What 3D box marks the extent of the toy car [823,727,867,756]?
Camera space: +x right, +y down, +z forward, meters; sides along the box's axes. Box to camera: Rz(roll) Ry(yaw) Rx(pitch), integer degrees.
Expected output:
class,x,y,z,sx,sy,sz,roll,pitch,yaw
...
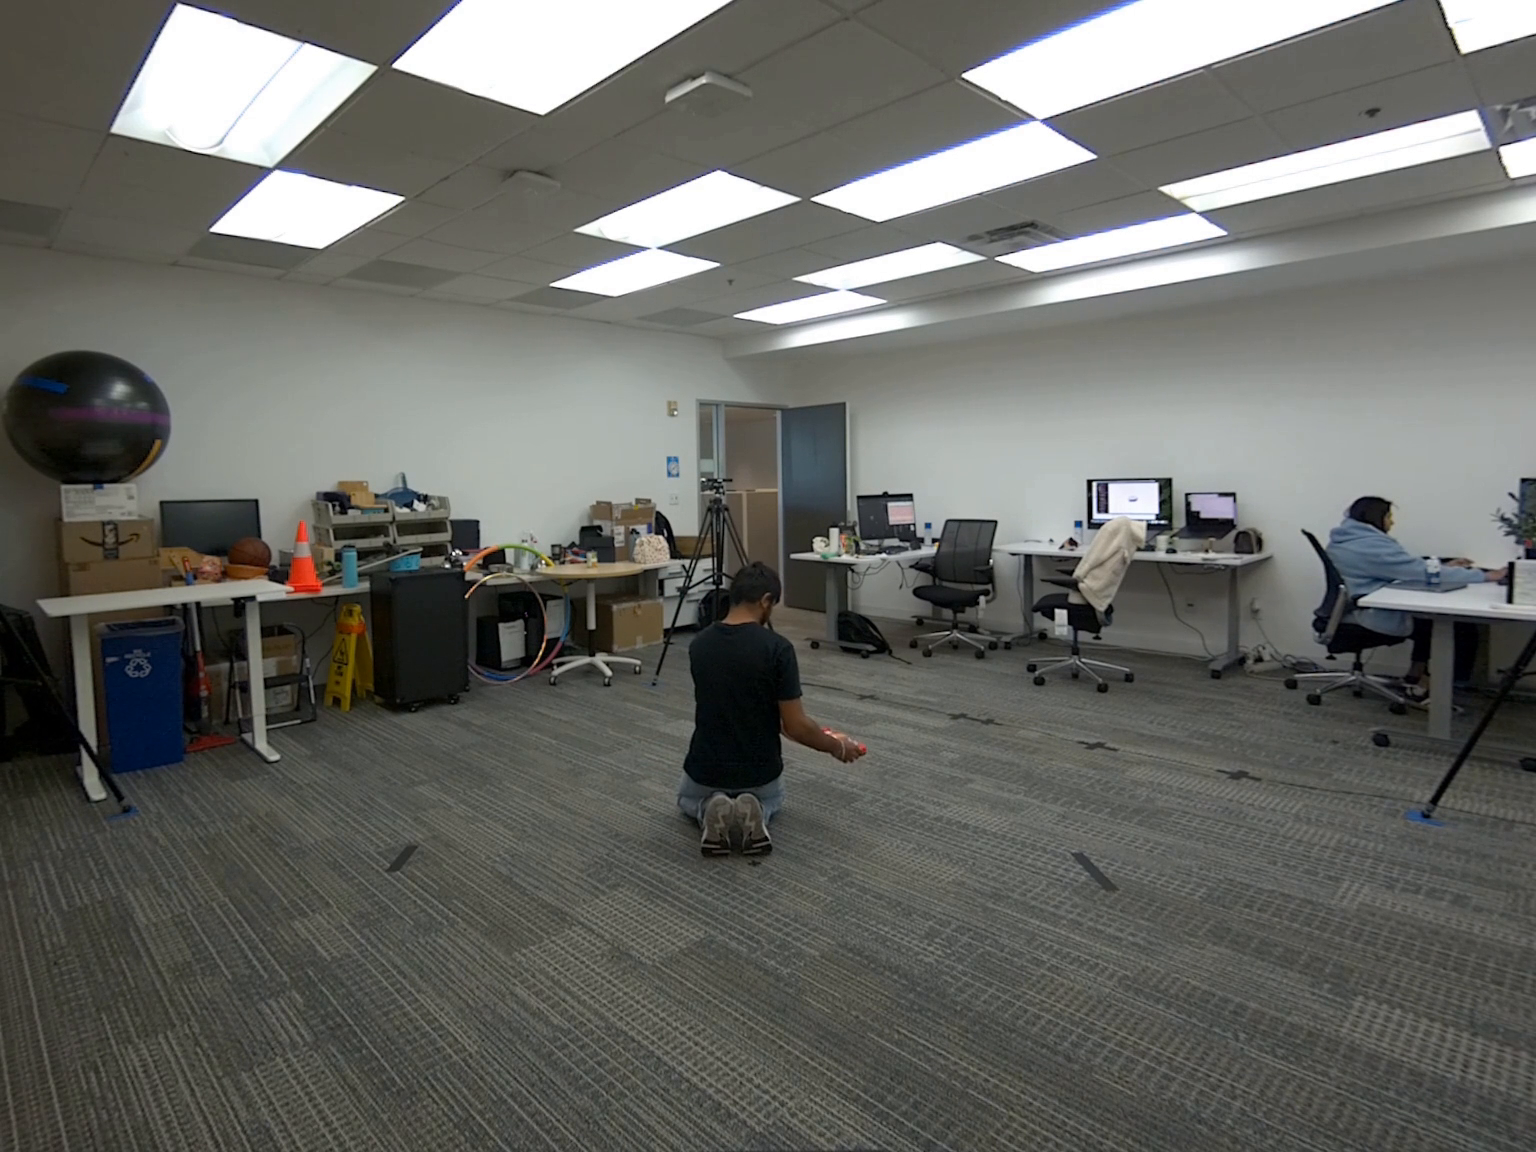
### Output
class,x,y,z,sx,sy,sz,roll,pitch,yaw
toy car,0.279,0.687,3.489,0.127,0.082,0.264,-2,16,-41
